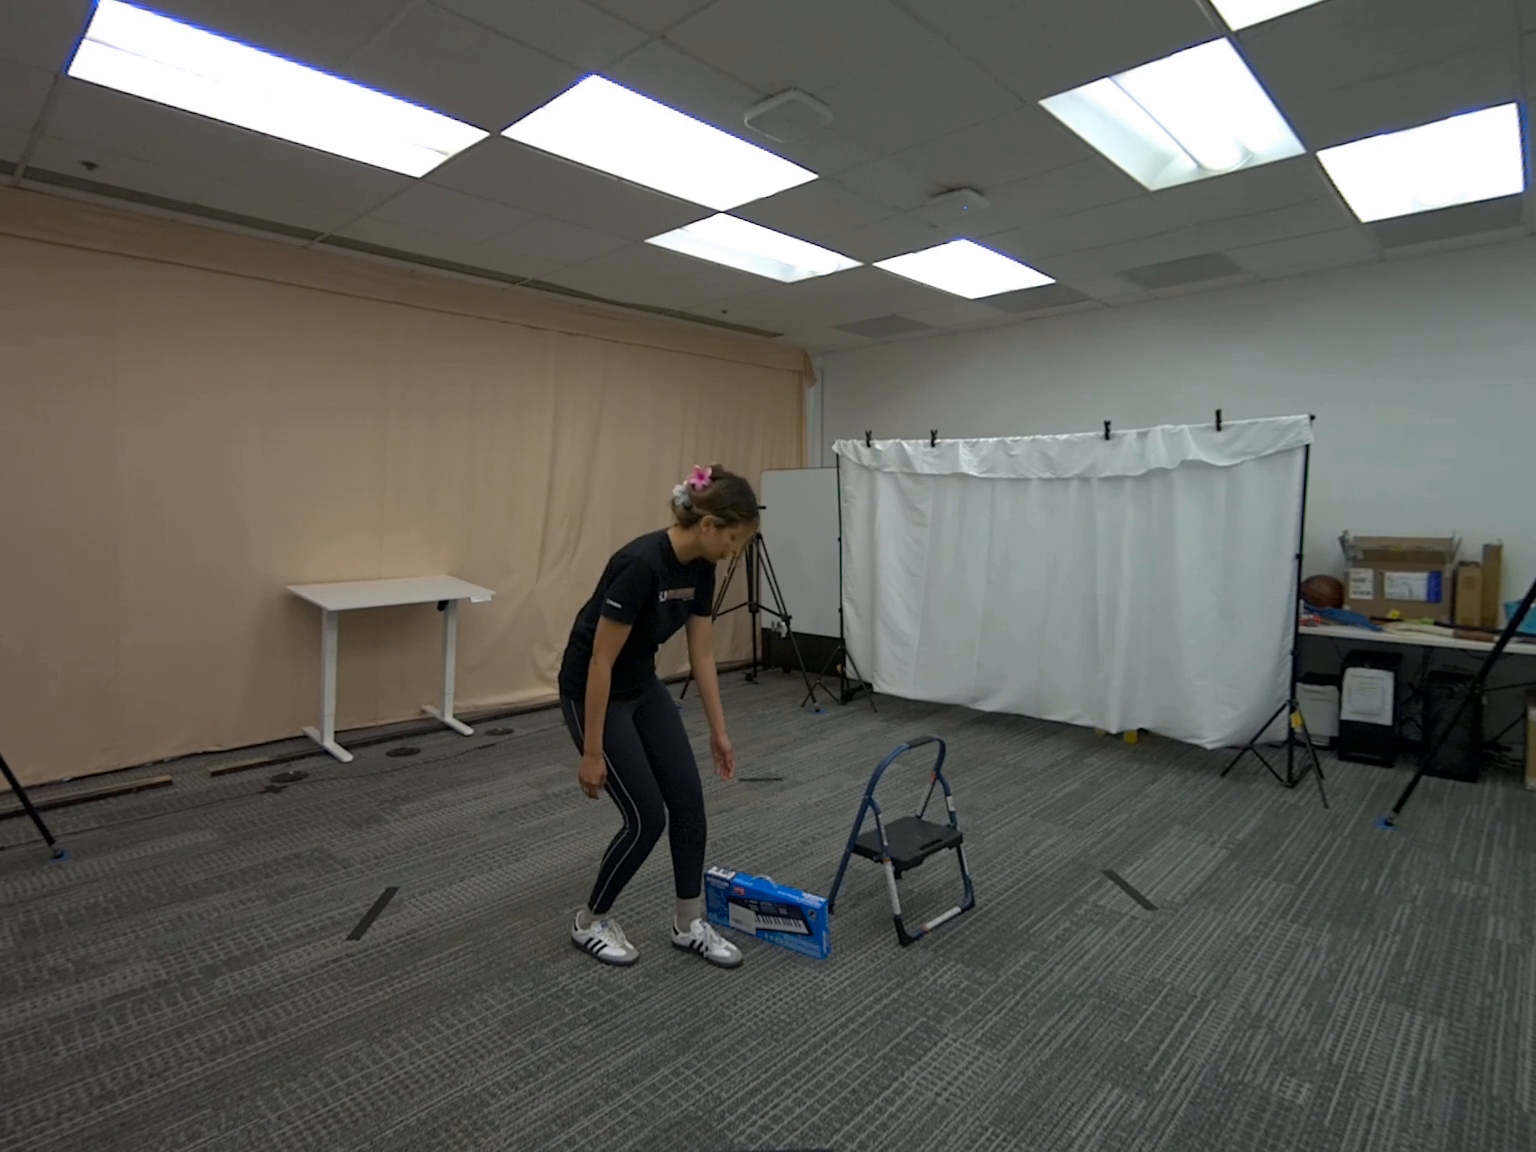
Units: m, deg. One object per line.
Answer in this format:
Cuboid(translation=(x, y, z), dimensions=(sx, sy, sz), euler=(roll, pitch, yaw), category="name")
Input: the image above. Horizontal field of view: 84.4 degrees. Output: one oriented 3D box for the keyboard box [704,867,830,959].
Cuboid(translation=(-0.005, 1.079, 2.711), dimensions=(0.450, 0.175, 0.057), euler=(3, 9, 34), category="keyboard box")
